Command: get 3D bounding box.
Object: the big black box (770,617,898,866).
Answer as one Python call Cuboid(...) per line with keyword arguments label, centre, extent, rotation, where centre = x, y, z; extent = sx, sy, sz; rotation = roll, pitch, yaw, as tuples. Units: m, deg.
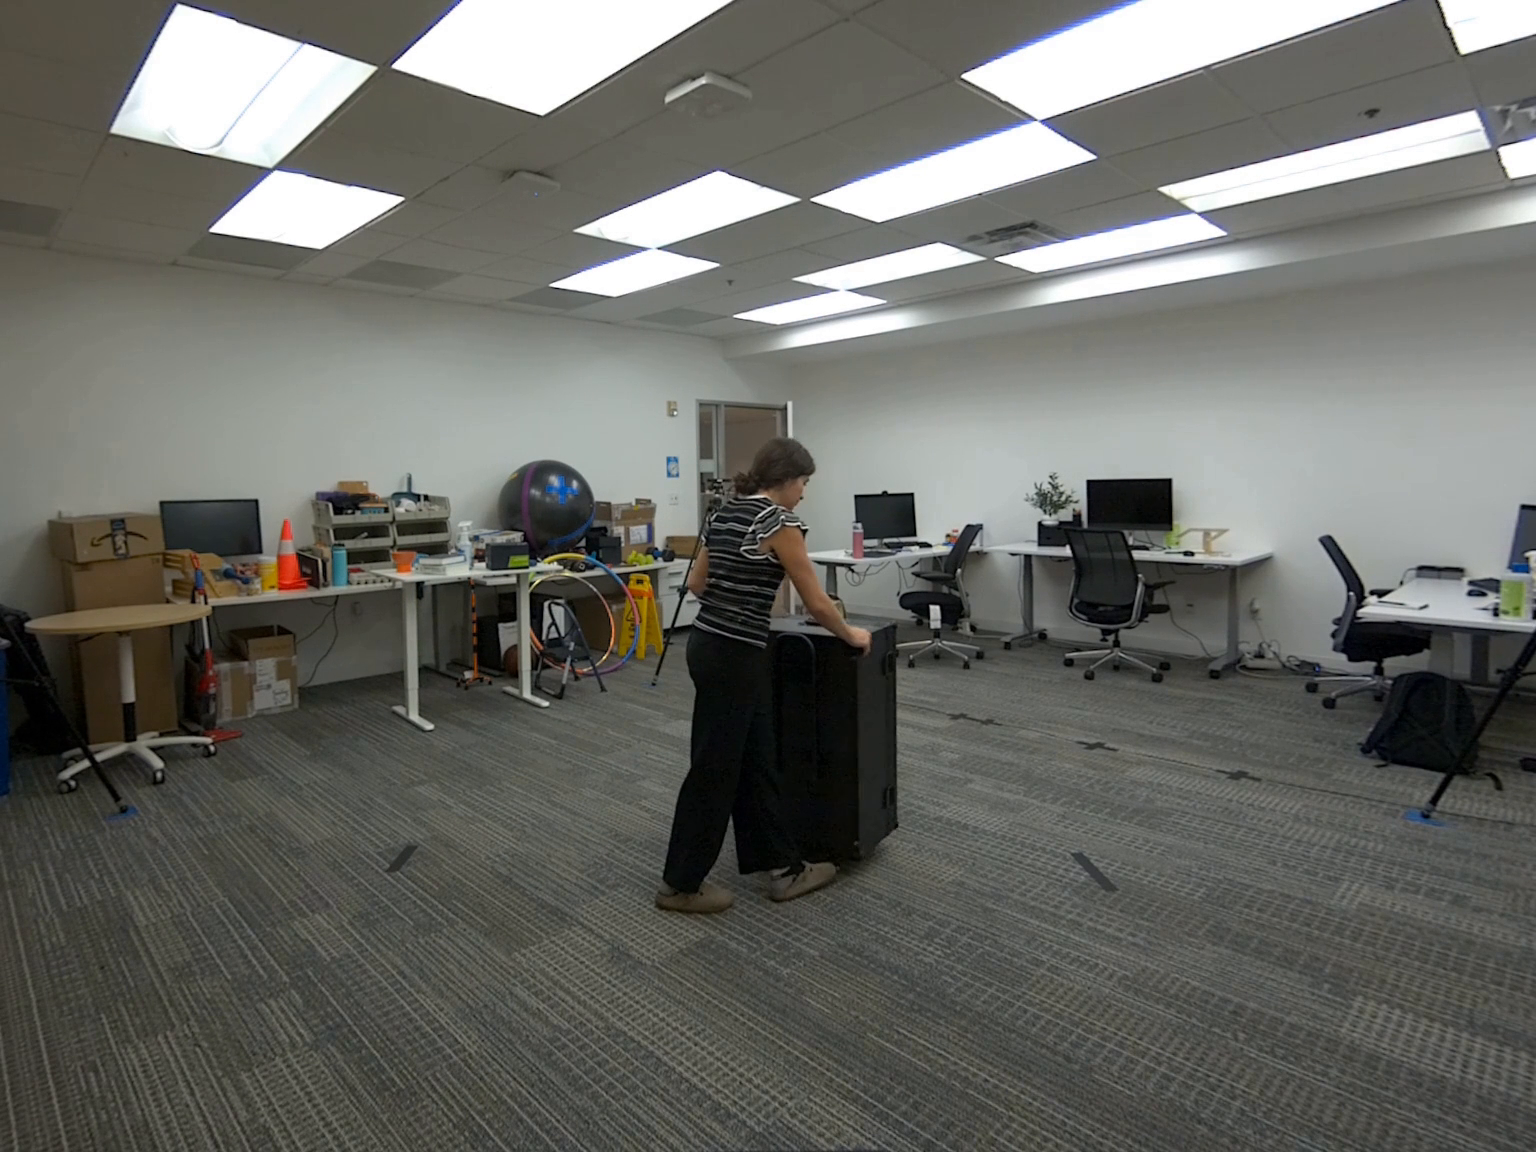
Cuboid(label="big black box", centre=(0.191, 0.605, 3.189), extent=(0.535, 0.858, 0.387), rotation=(2, 5, 32))
